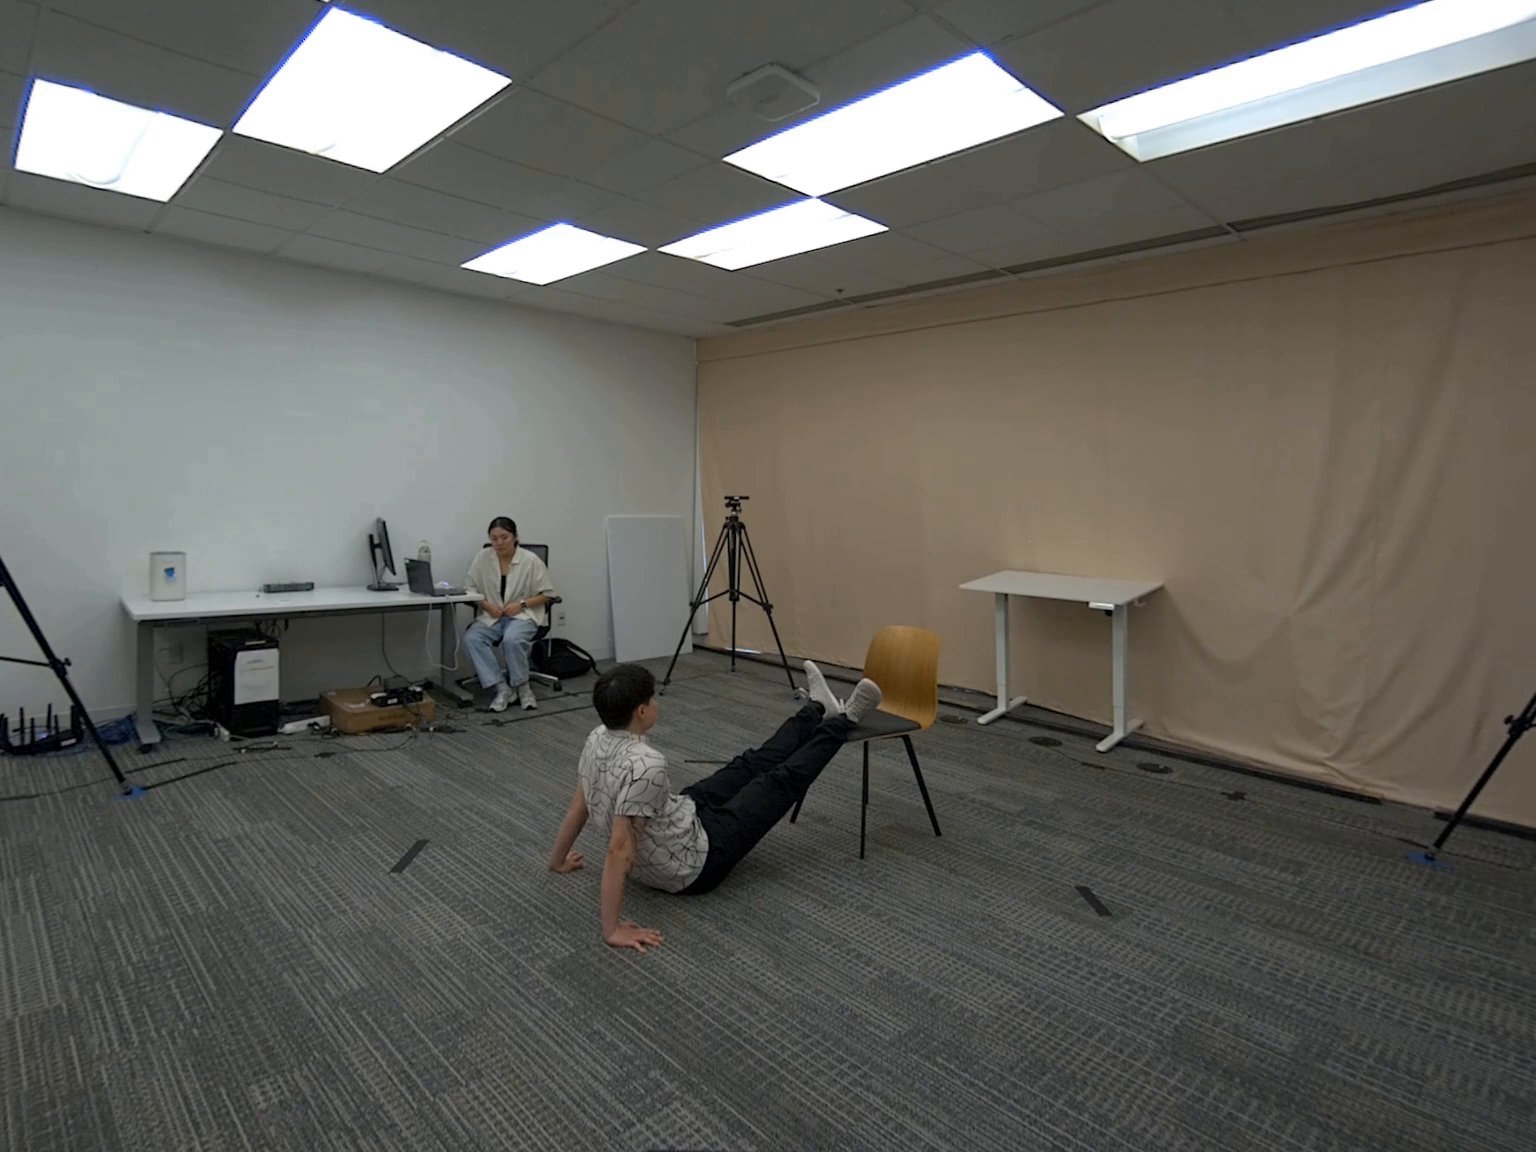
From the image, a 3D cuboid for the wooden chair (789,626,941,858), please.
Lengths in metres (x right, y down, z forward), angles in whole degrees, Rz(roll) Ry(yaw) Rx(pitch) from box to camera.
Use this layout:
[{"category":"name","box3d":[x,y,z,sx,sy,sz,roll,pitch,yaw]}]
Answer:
[{"category":"wooden chair","box3d":[0.406,0.650,3.548,0.510,0.877,0.490,4,1,-36]}]
